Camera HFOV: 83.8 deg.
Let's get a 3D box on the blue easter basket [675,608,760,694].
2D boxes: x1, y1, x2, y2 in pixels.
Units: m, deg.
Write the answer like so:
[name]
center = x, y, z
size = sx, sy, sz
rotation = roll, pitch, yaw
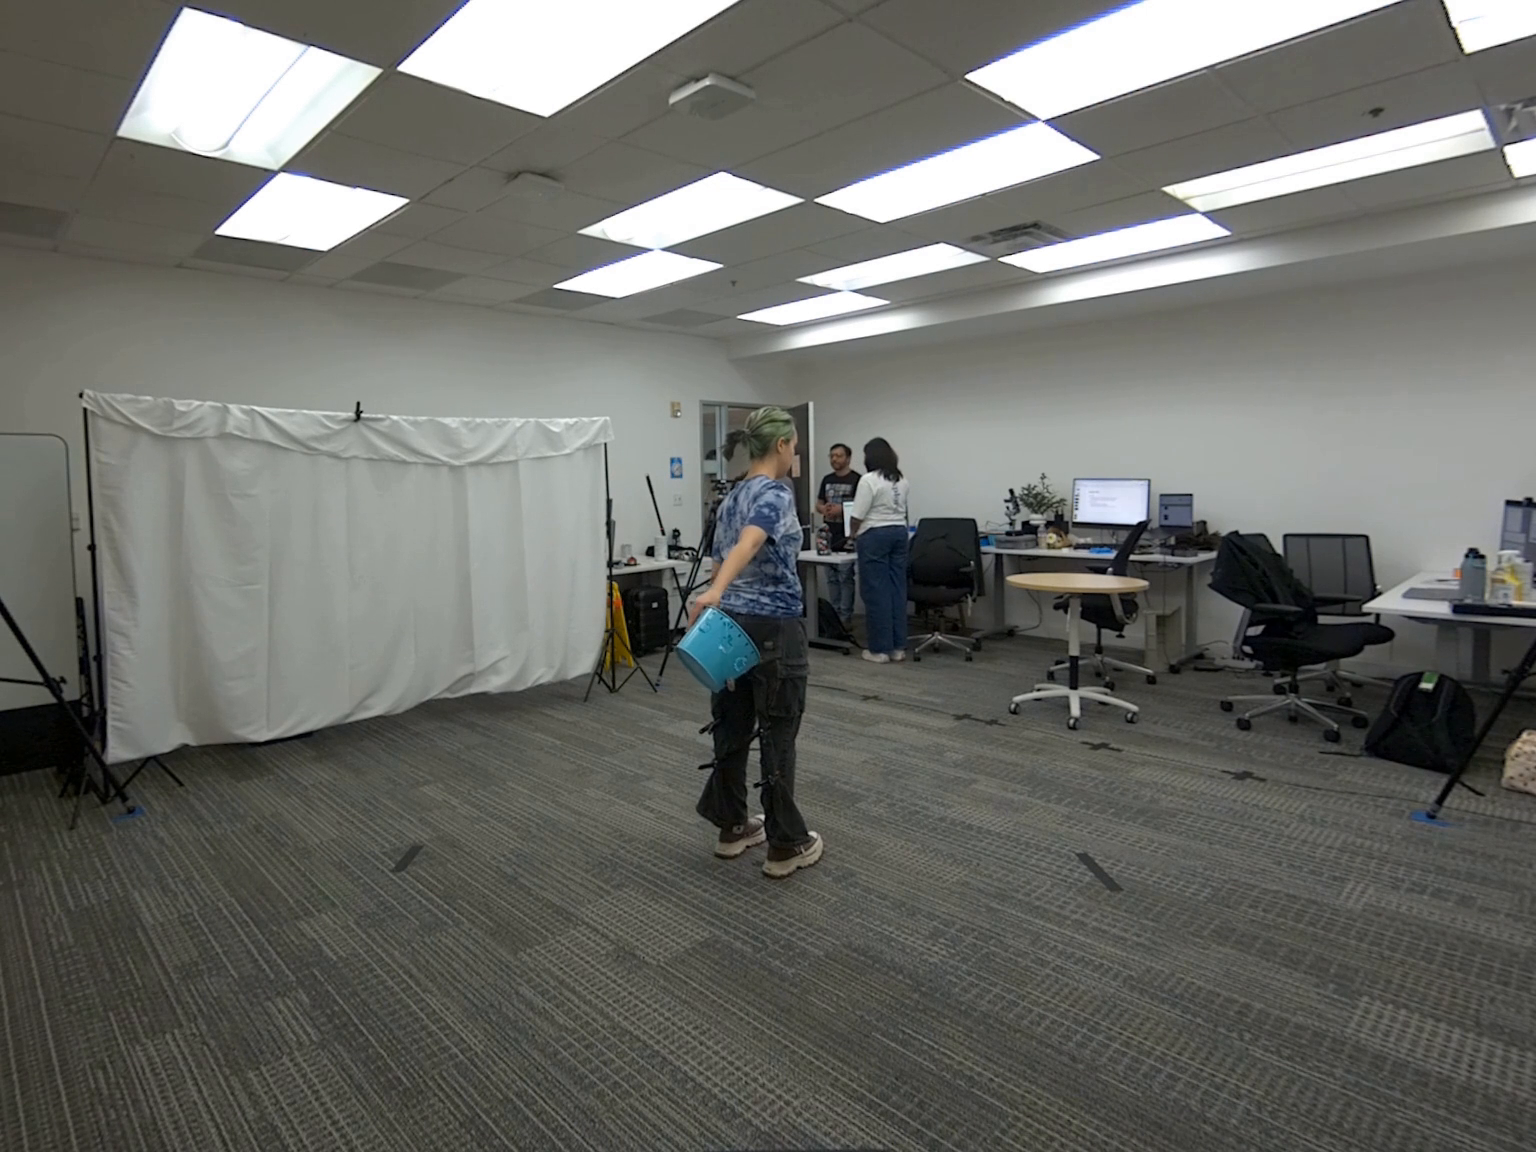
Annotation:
[blue easter basket]
center = -0.140, 0.236, 2.521
size = 0.156, 0.237, 0.250
rotation = -45, 23, -19
